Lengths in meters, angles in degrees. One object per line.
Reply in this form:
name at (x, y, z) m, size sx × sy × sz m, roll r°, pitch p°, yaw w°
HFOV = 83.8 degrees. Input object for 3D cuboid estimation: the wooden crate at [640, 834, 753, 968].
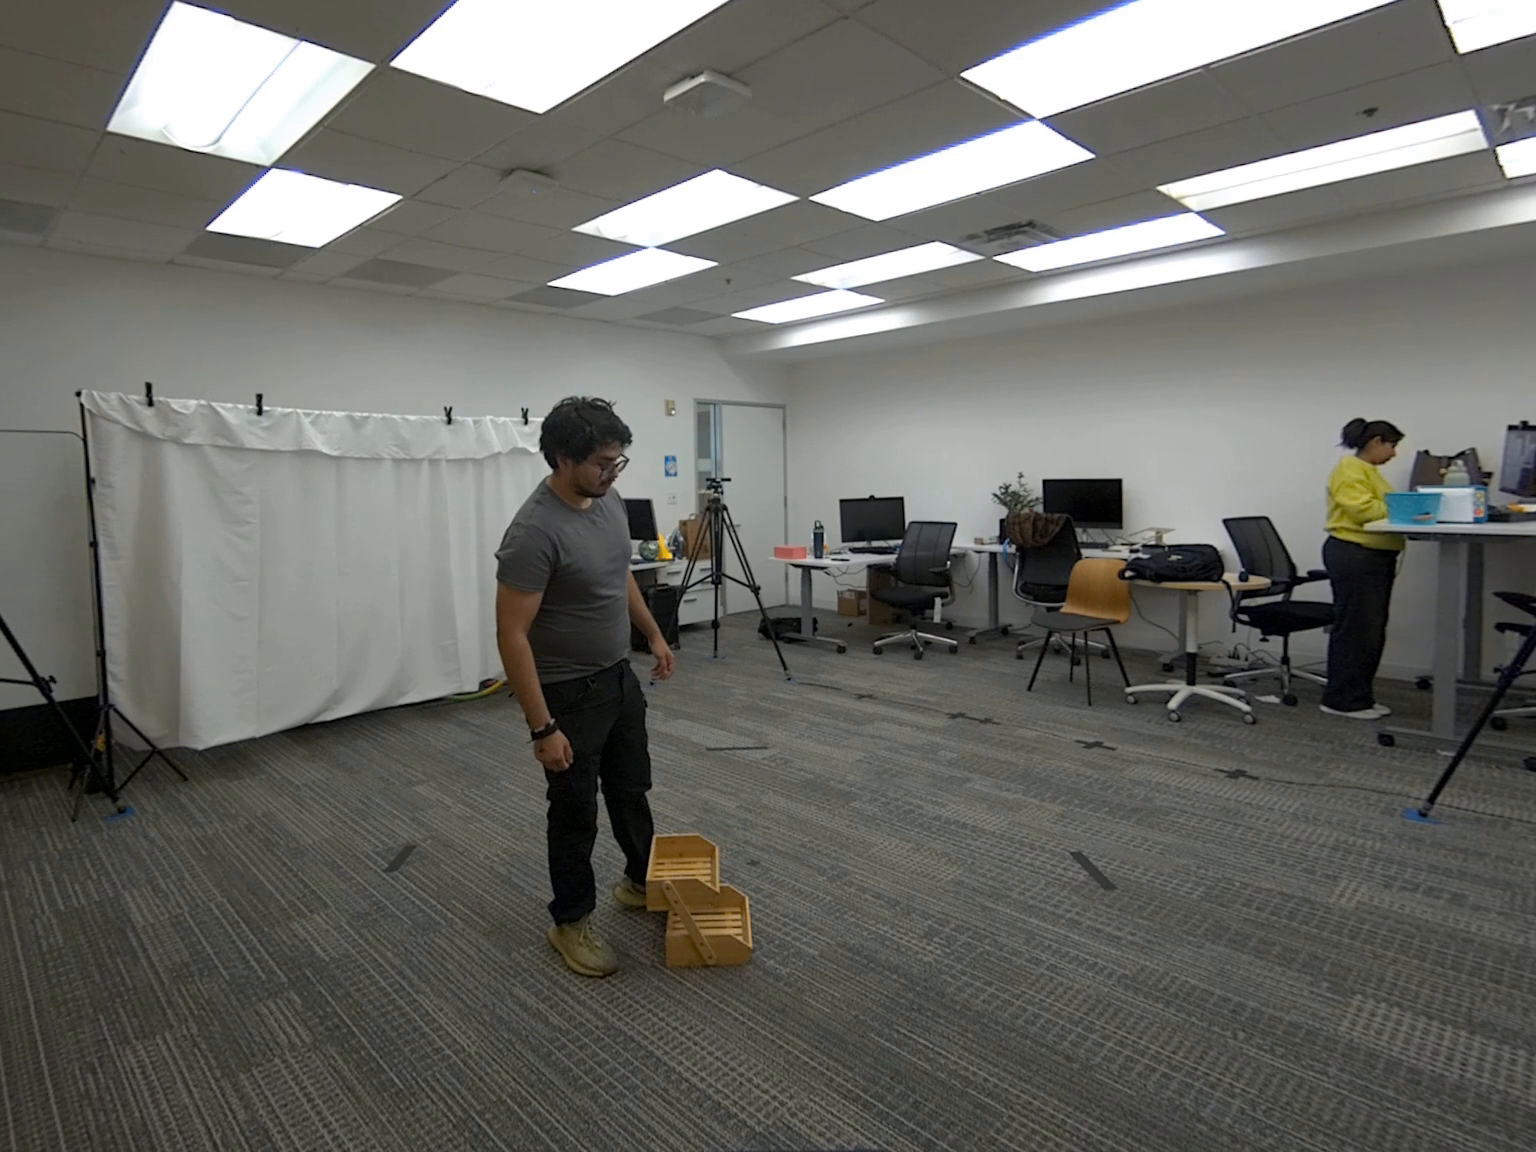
wooden crate at (-0.192, 0.983, 2.592) m, size 0.302 × 0.272 × 0.326 m, roll -2°, pitch 6°, yaw -1°
